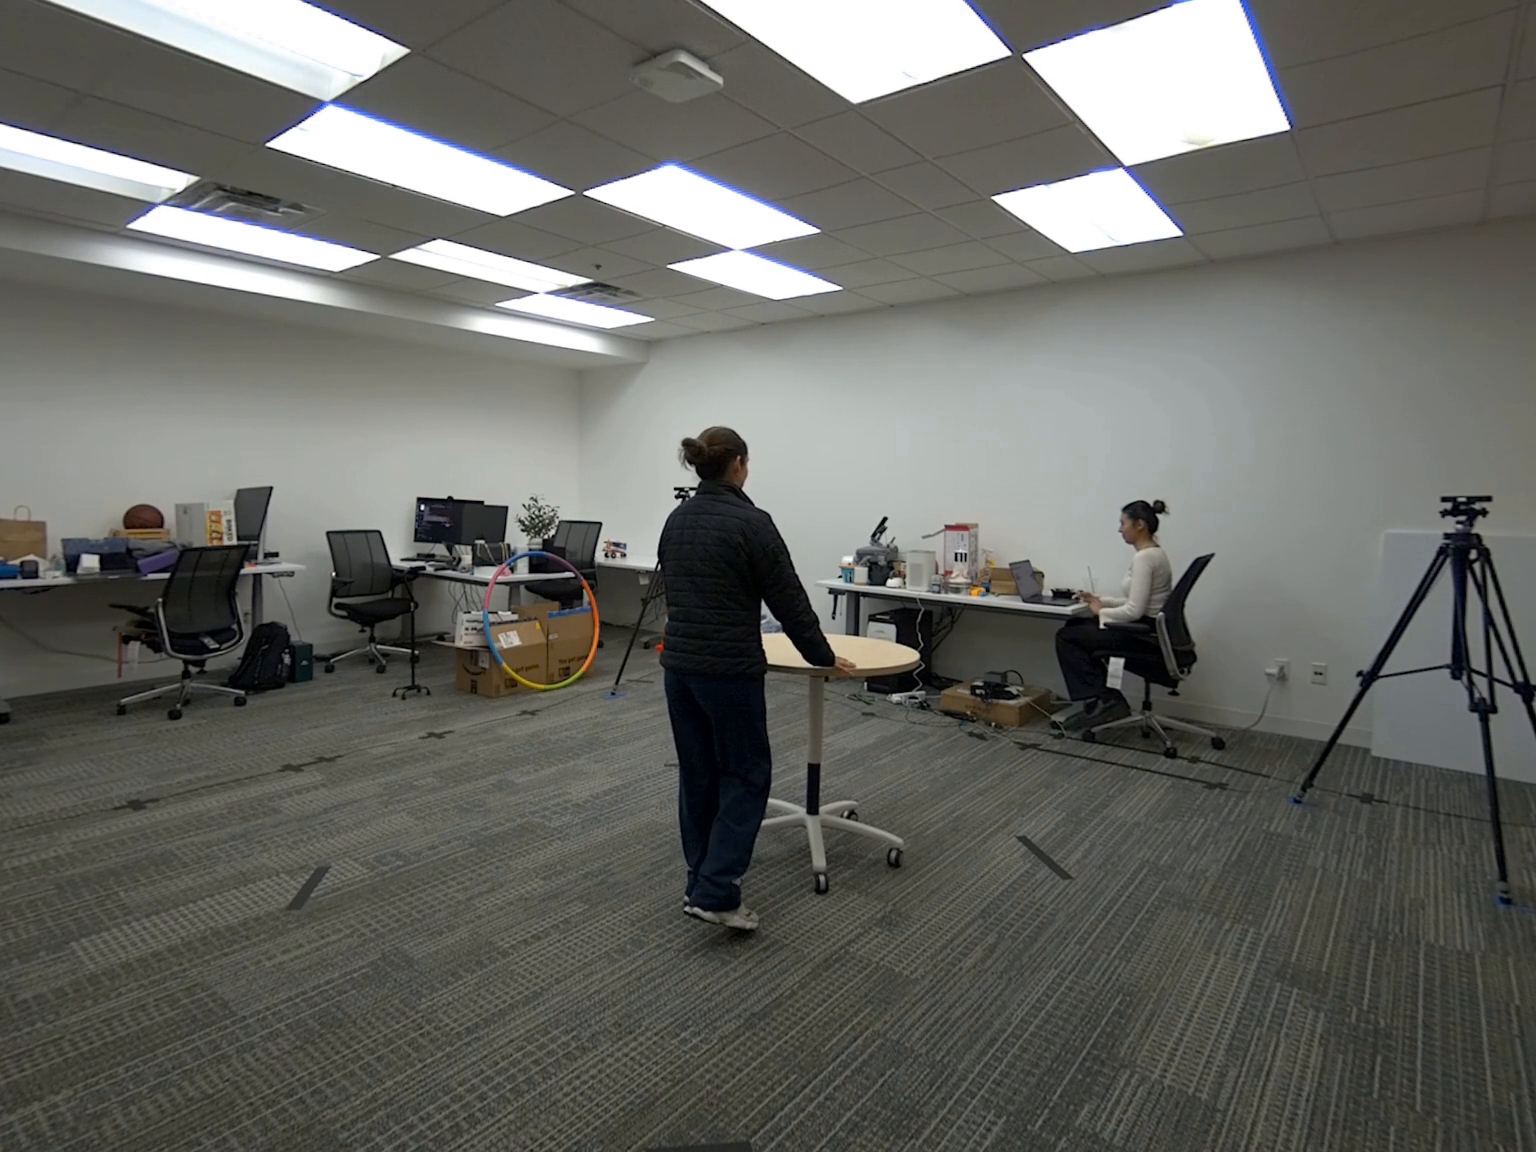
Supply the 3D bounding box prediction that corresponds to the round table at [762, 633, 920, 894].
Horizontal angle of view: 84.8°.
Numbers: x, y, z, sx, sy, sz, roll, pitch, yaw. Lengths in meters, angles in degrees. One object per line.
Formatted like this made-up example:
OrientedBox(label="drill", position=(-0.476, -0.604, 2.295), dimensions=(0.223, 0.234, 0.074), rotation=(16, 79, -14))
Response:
OrientedBox(label="round table", position=(0.193, 0.663, 3.275), dimensions=(0.784, 0.784, 0.788), rotation=(2, 3, -2))
